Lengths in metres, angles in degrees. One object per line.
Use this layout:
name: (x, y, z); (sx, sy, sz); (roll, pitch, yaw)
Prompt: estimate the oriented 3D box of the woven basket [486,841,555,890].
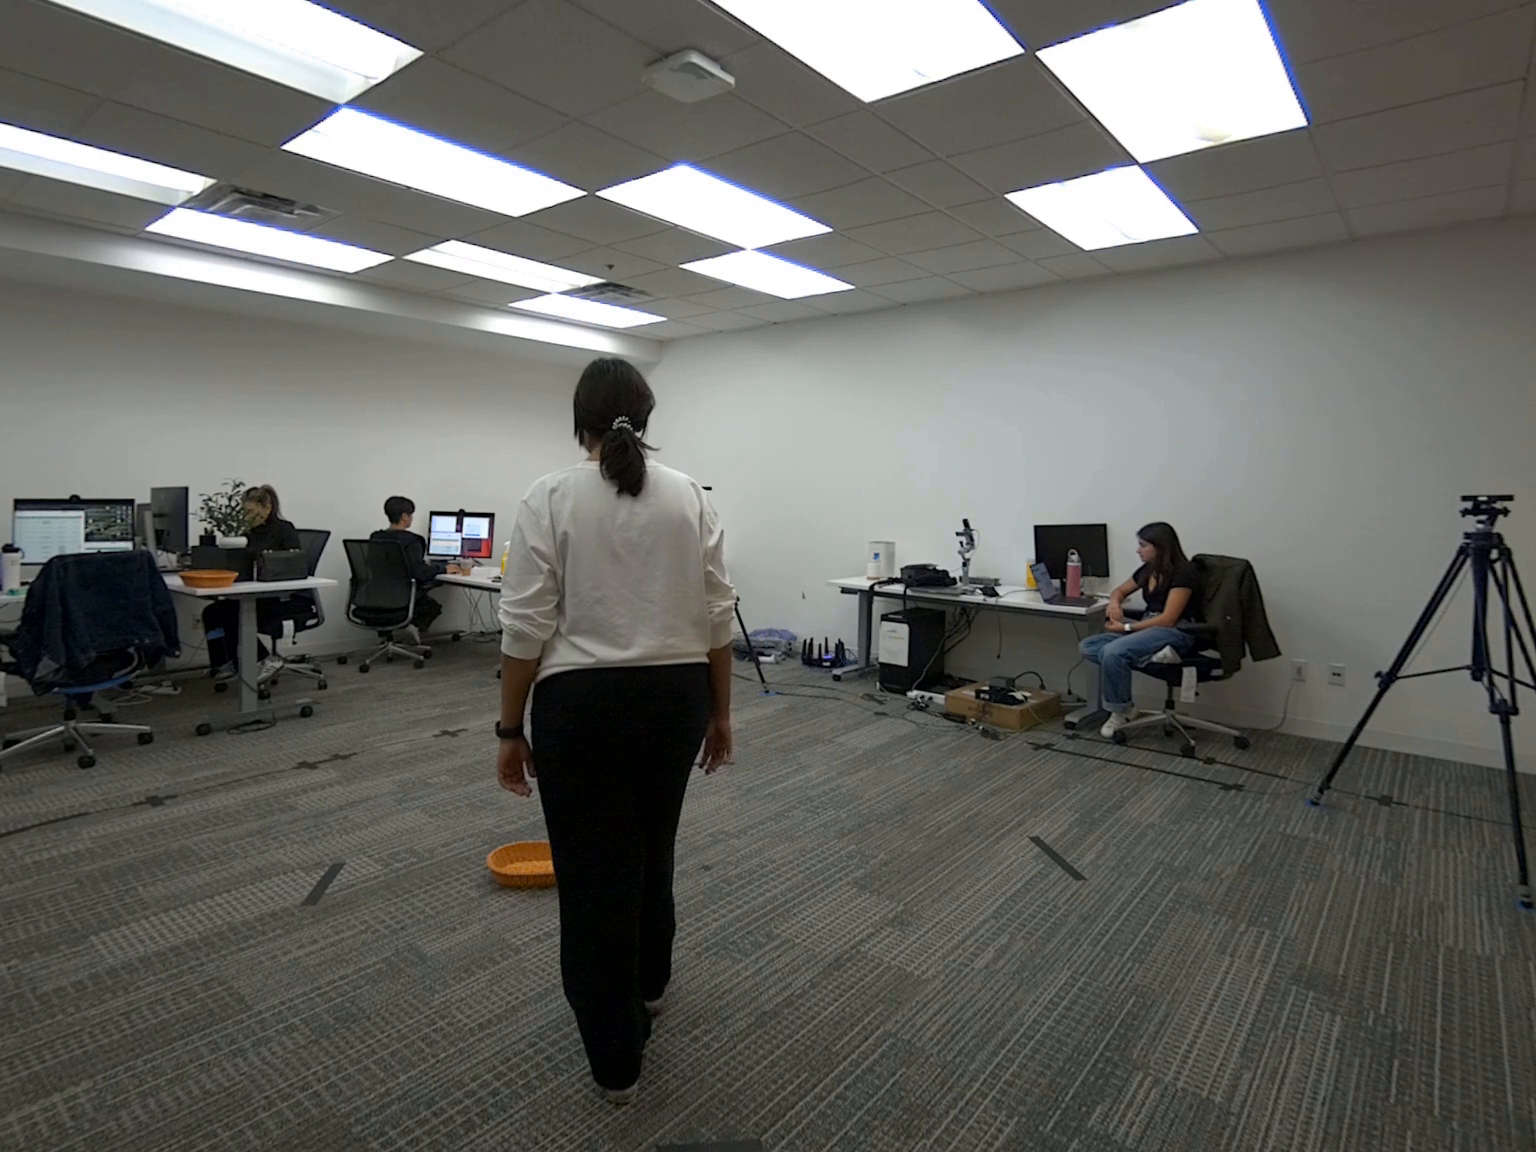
woven basket: (-0.824, 1.025, 3.026); (0.349, 0.073, 0.255); (1, 7, -4)
